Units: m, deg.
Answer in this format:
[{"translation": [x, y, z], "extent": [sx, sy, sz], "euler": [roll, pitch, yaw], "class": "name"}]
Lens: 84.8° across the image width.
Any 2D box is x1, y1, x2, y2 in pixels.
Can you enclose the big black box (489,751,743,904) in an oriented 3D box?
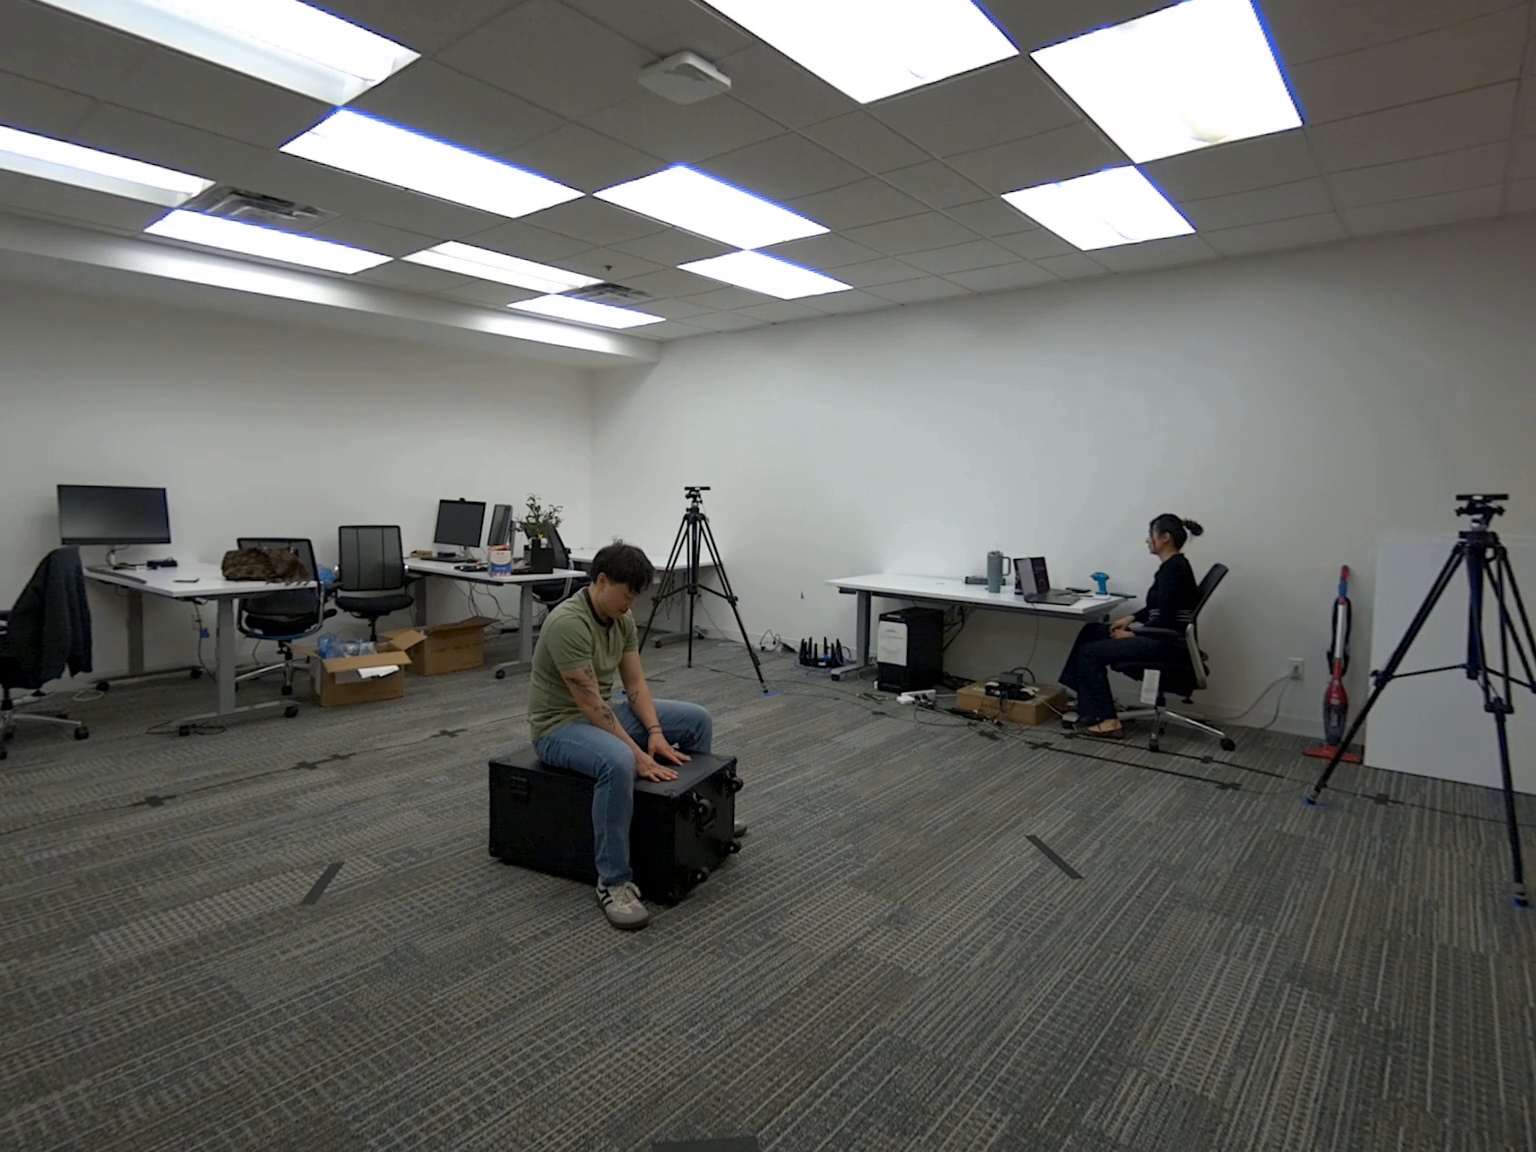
[{"translation": [-0.558, 0.868, 3.155], "extent": [0.883, 0.395, 0.510], "euler": [2, 4, 24], "class": "big black box"}]
